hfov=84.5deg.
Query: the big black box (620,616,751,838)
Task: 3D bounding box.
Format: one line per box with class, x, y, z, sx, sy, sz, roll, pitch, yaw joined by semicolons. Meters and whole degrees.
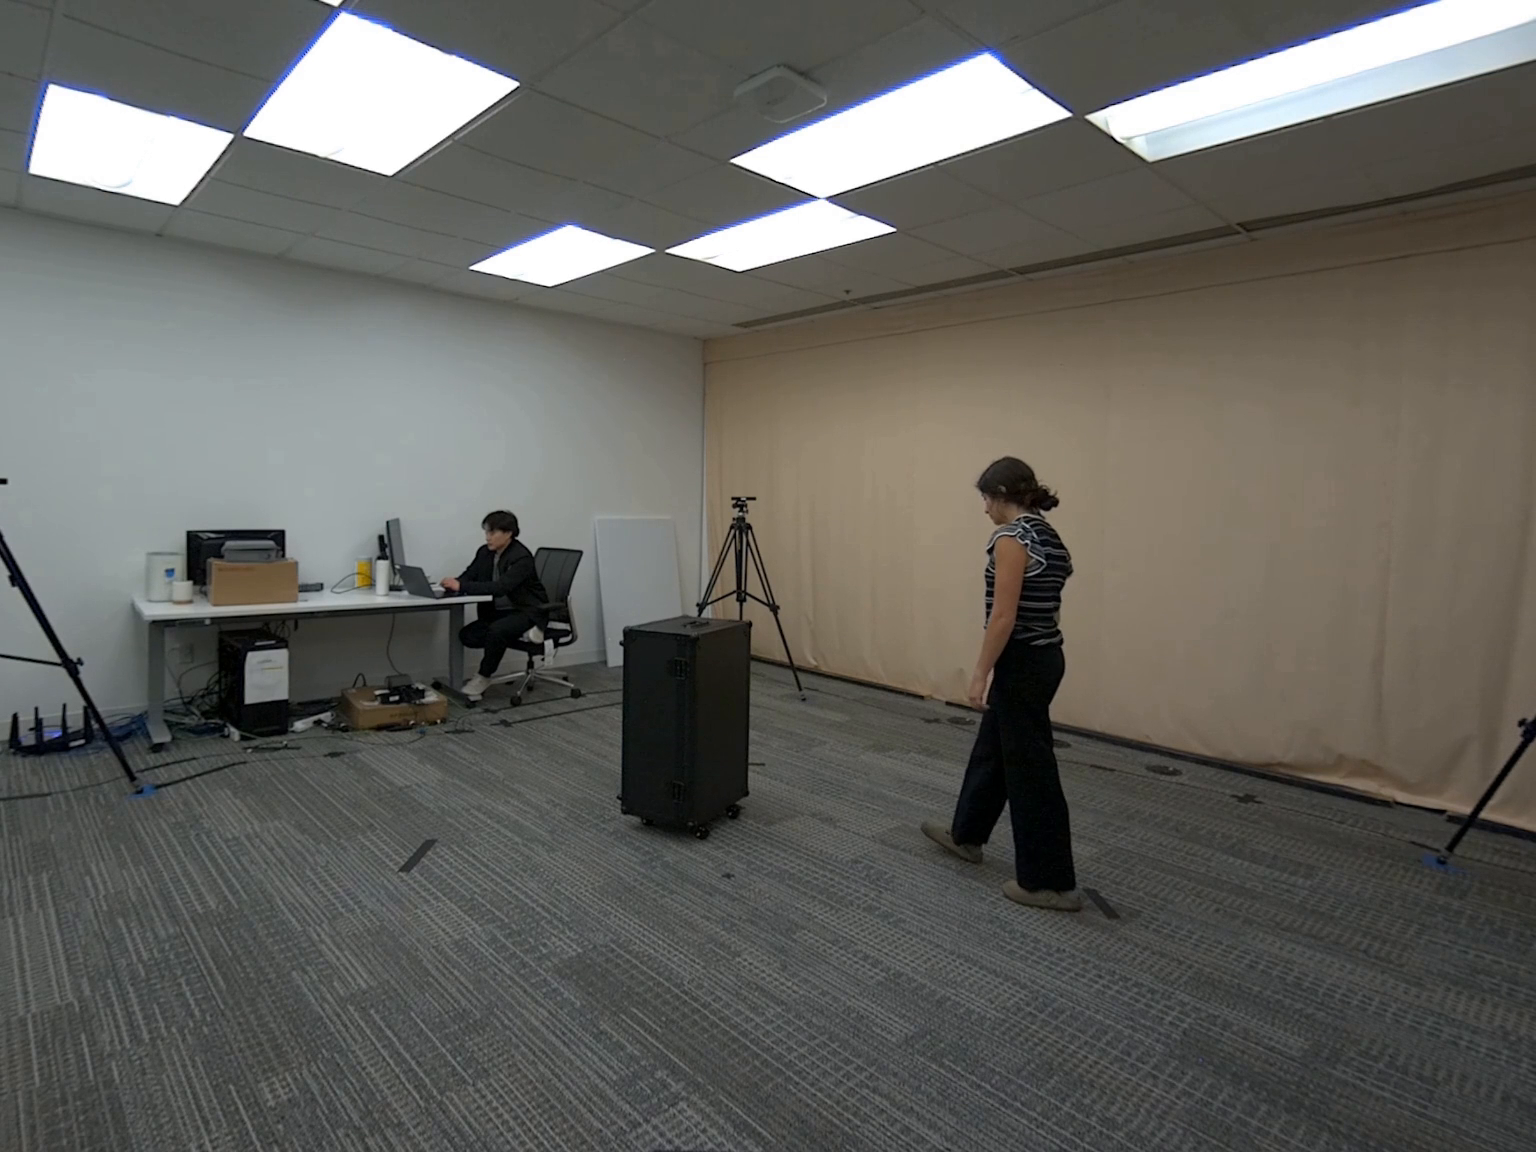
big black box;-0.362;0.636;3.629;0.404;0.860;0.511;3;3;27
